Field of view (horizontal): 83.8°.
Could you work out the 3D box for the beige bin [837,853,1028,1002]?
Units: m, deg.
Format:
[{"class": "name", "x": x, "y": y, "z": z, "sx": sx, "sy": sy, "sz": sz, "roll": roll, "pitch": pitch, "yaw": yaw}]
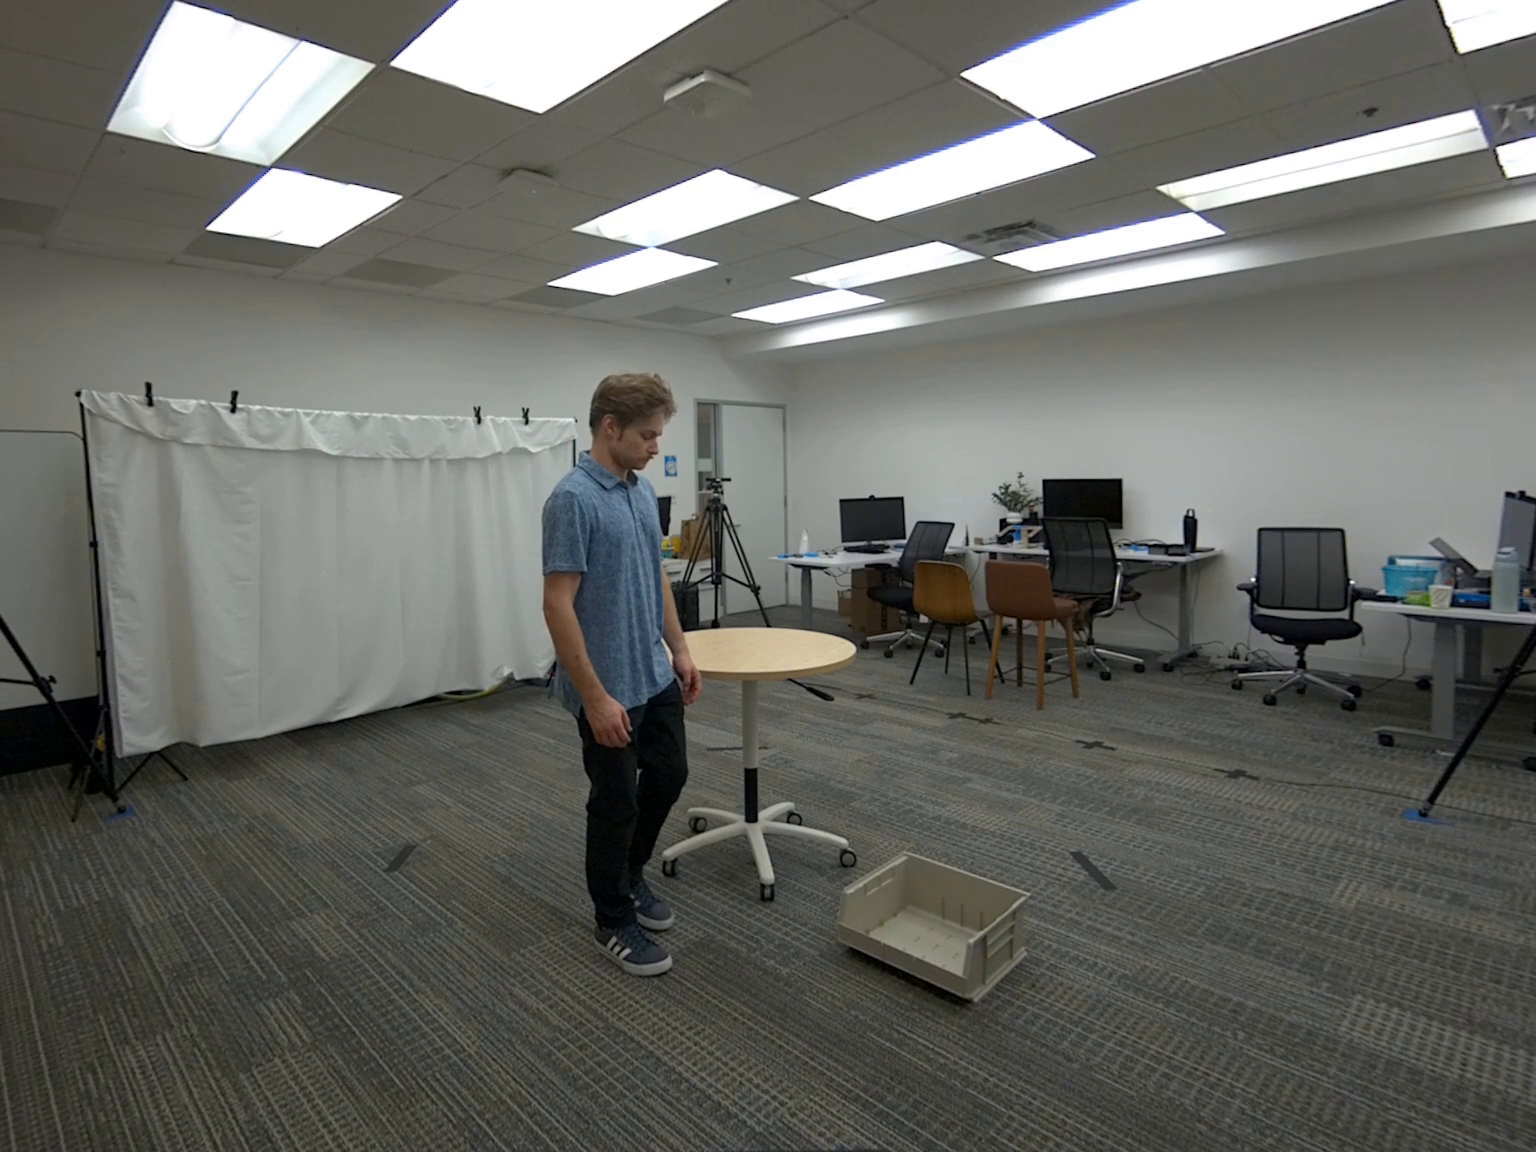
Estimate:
[{"class": "beige bin", "x": 0.484, "y": 1.017, "z": 2.492, "sx": 0.435, "sy": 0.188, "sz": 0.367, "roll": 4, "pitch": 7, "yaw": 42}]
